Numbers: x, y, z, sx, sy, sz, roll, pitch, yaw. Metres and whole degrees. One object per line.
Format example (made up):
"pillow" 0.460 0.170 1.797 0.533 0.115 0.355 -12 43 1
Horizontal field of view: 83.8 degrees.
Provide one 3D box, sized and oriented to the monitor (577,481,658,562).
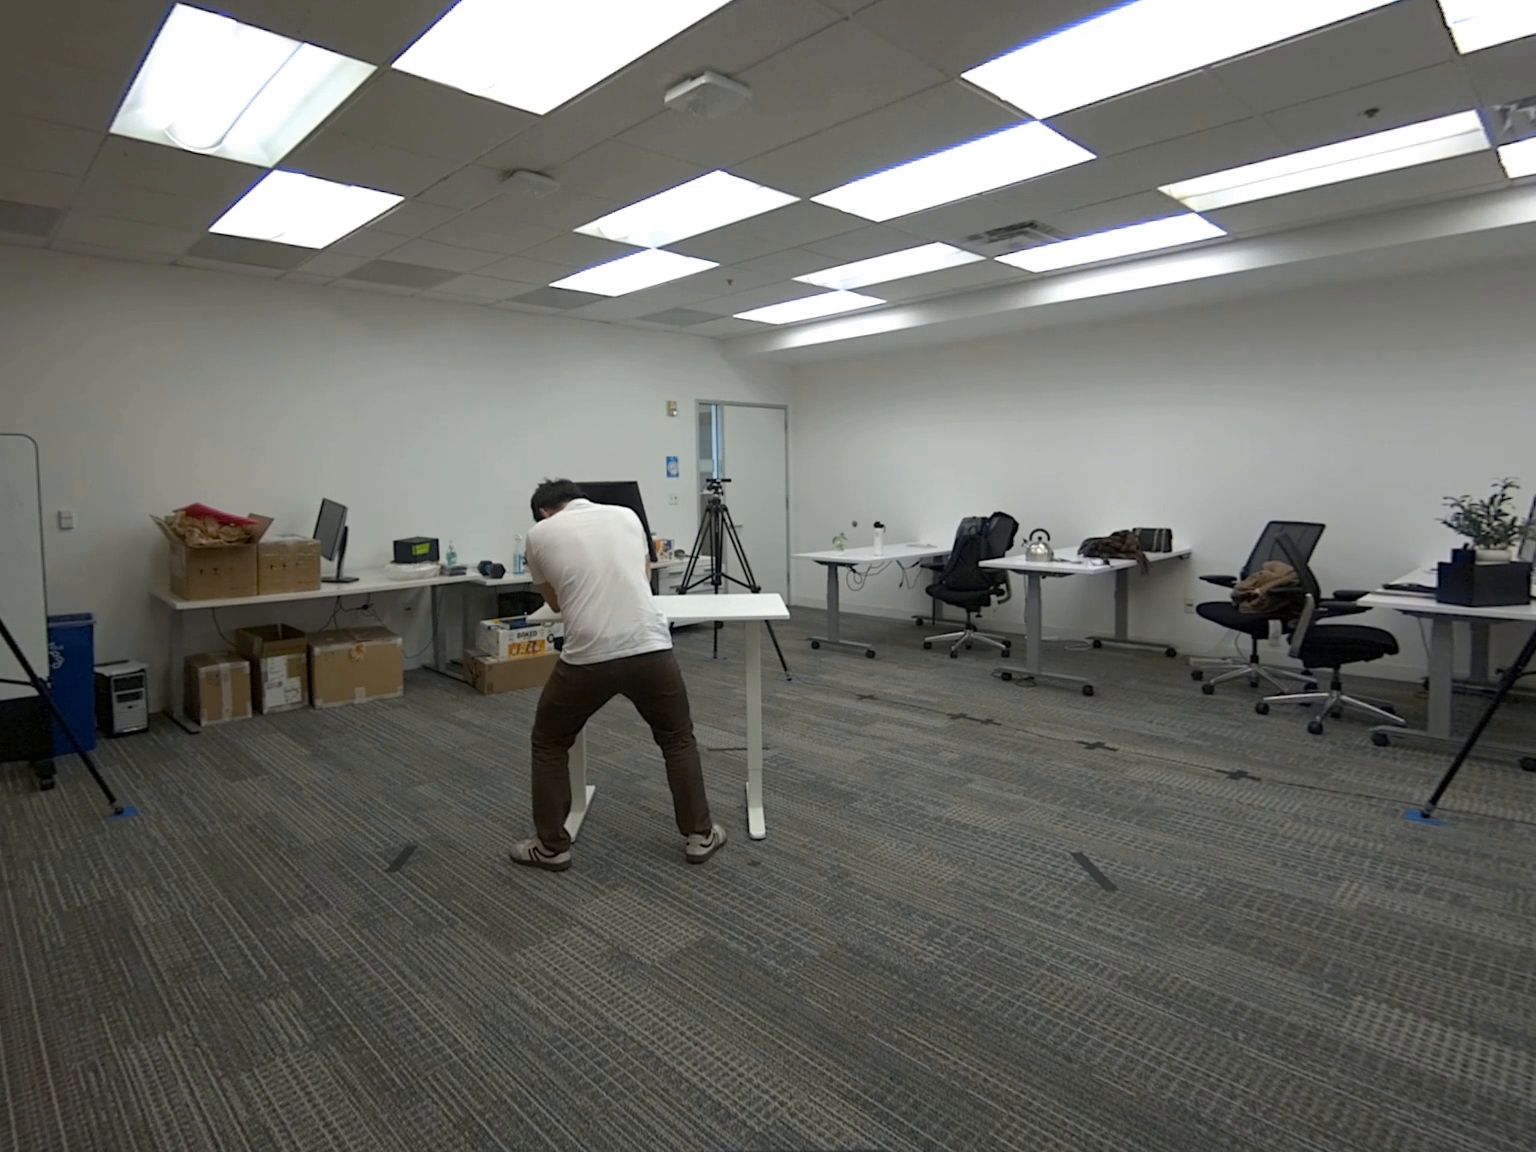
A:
"monitor" -0.739 -0.126 3.547 0.553 0.519 0.184 1 9 30
